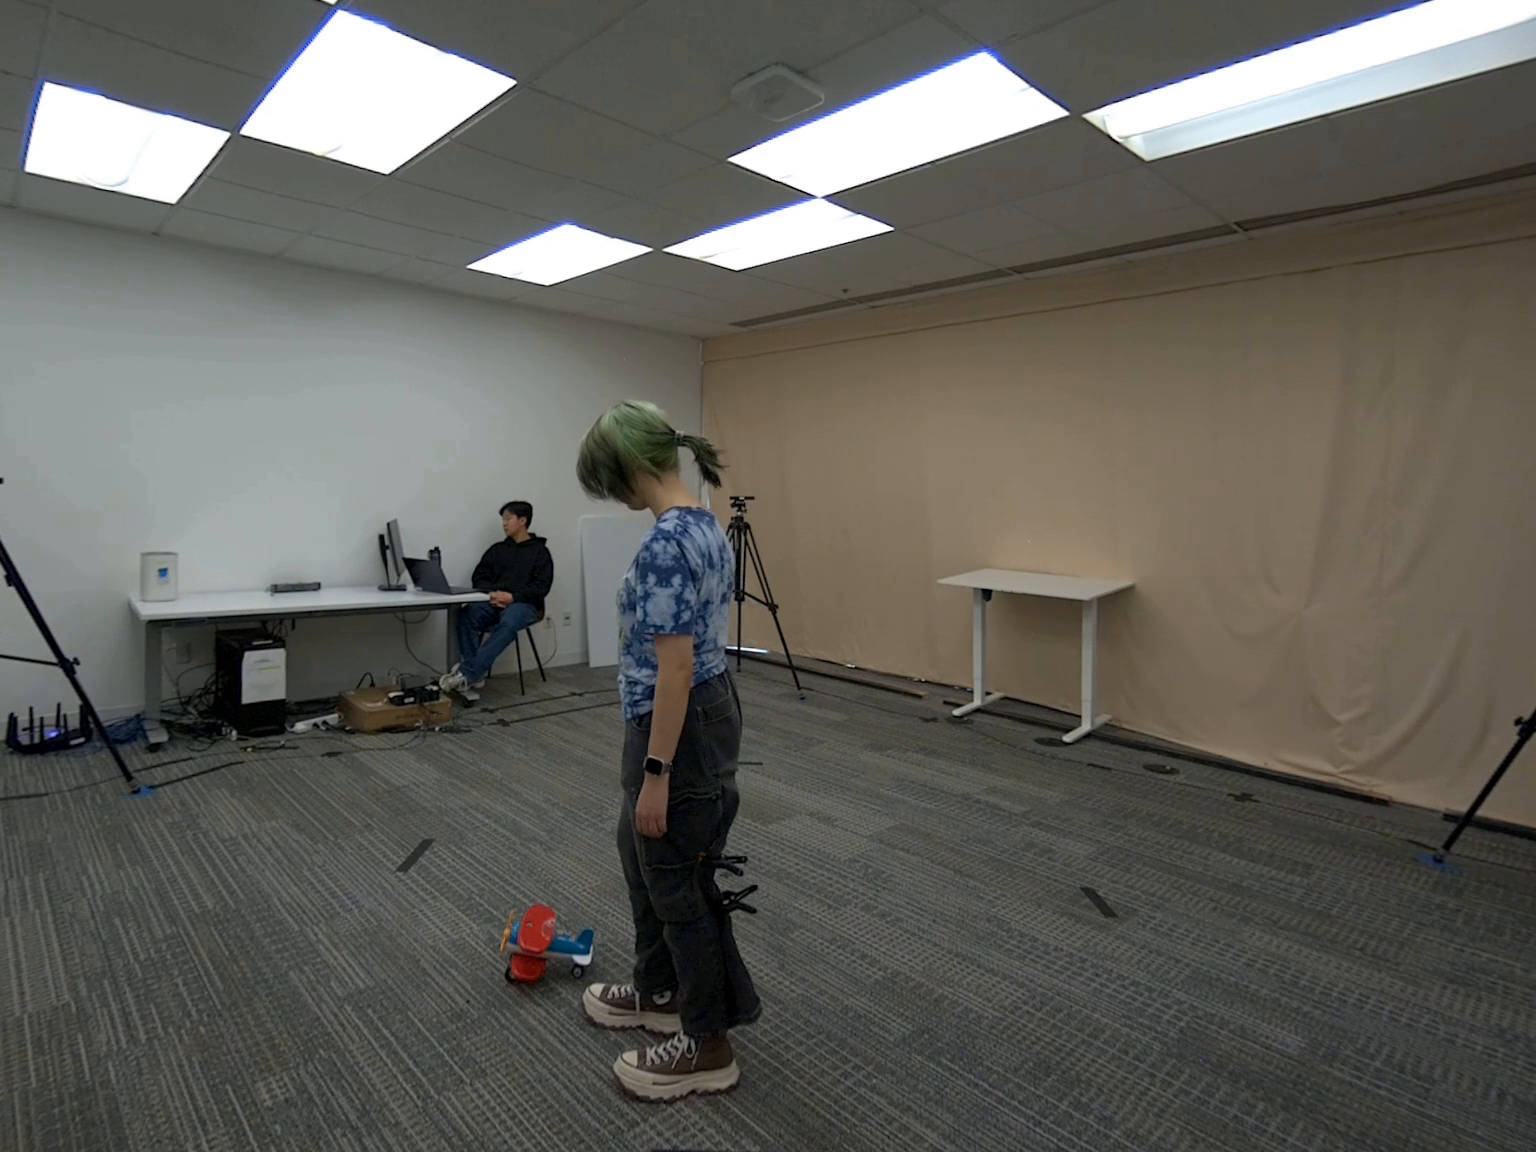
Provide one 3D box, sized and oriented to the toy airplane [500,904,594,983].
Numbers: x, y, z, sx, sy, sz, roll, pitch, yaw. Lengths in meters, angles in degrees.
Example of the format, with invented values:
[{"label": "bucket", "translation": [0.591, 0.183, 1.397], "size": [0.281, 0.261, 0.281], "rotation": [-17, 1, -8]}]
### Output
[{"label": "toy airplane", "translation": [-0.653, 1.079, 2.453], "size": [0.254, 0.156, 0.257], "rotation": [-2, 6, -35]}]
